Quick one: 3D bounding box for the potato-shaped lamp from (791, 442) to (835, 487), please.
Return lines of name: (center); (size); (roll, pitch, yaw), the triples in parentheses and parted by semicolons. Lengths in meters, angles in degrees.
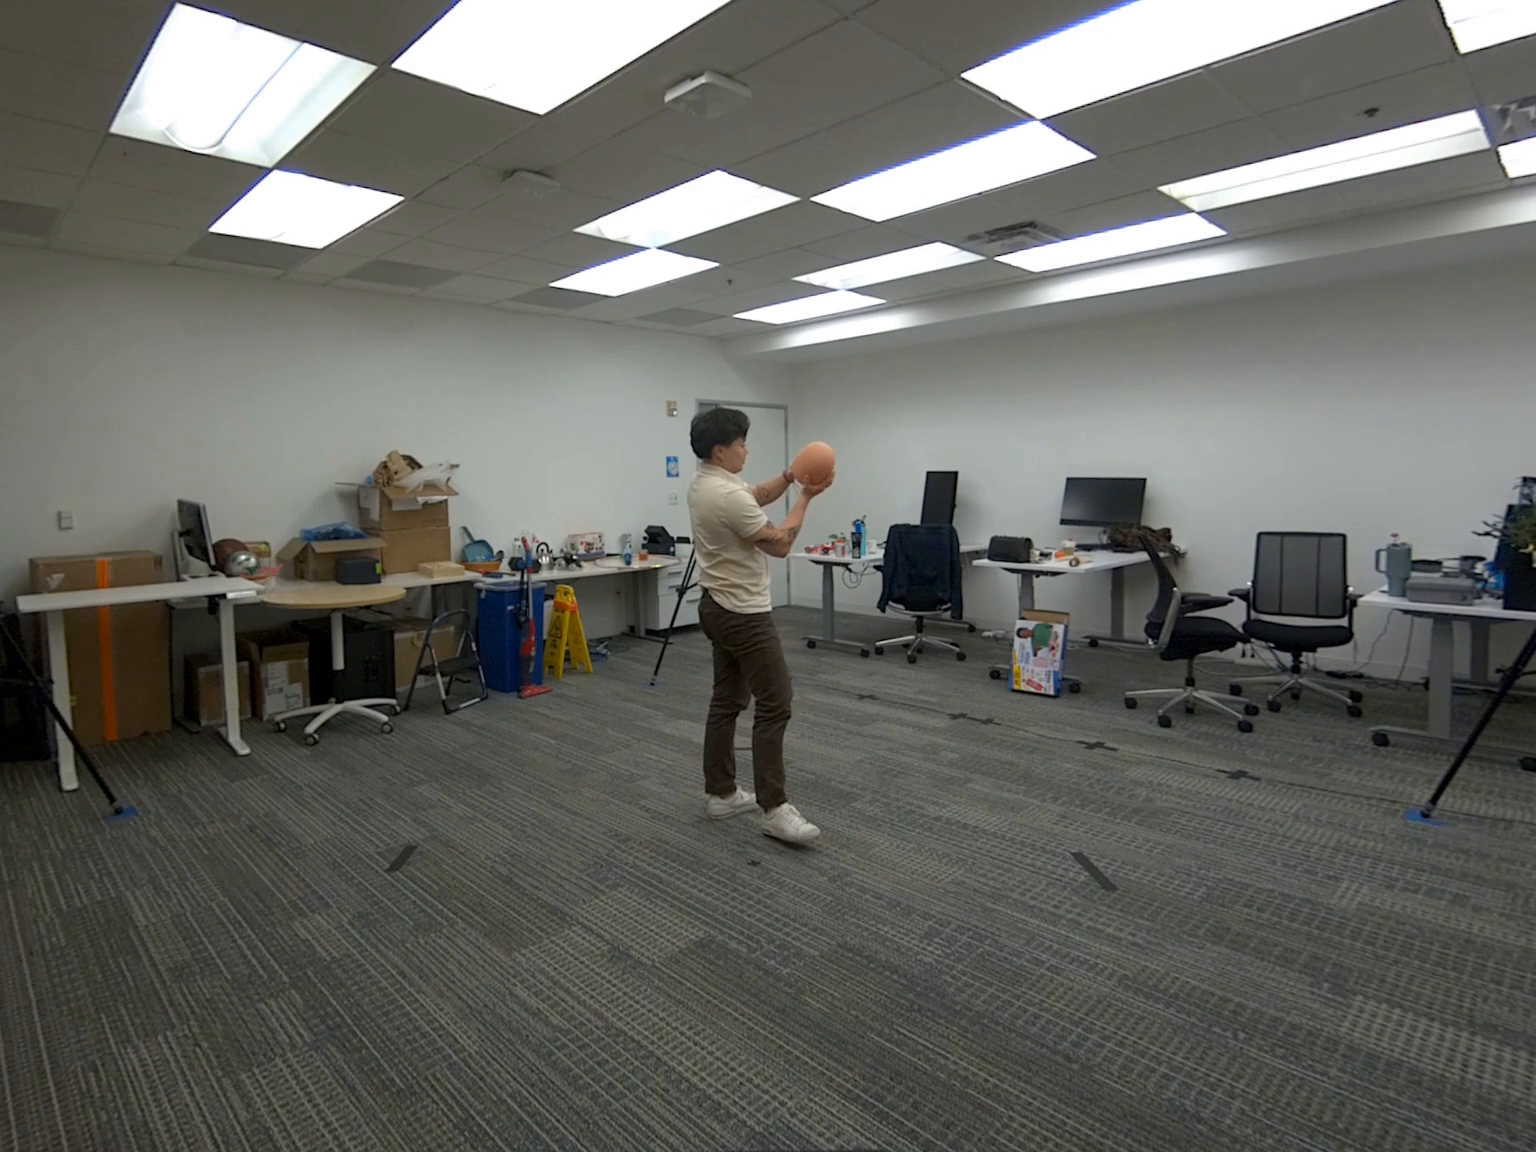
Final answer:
potato-shaped lamp: (0.187, -0.451, 3.414); (0.165, 0.172, 0.196); (31, -35, 1)
